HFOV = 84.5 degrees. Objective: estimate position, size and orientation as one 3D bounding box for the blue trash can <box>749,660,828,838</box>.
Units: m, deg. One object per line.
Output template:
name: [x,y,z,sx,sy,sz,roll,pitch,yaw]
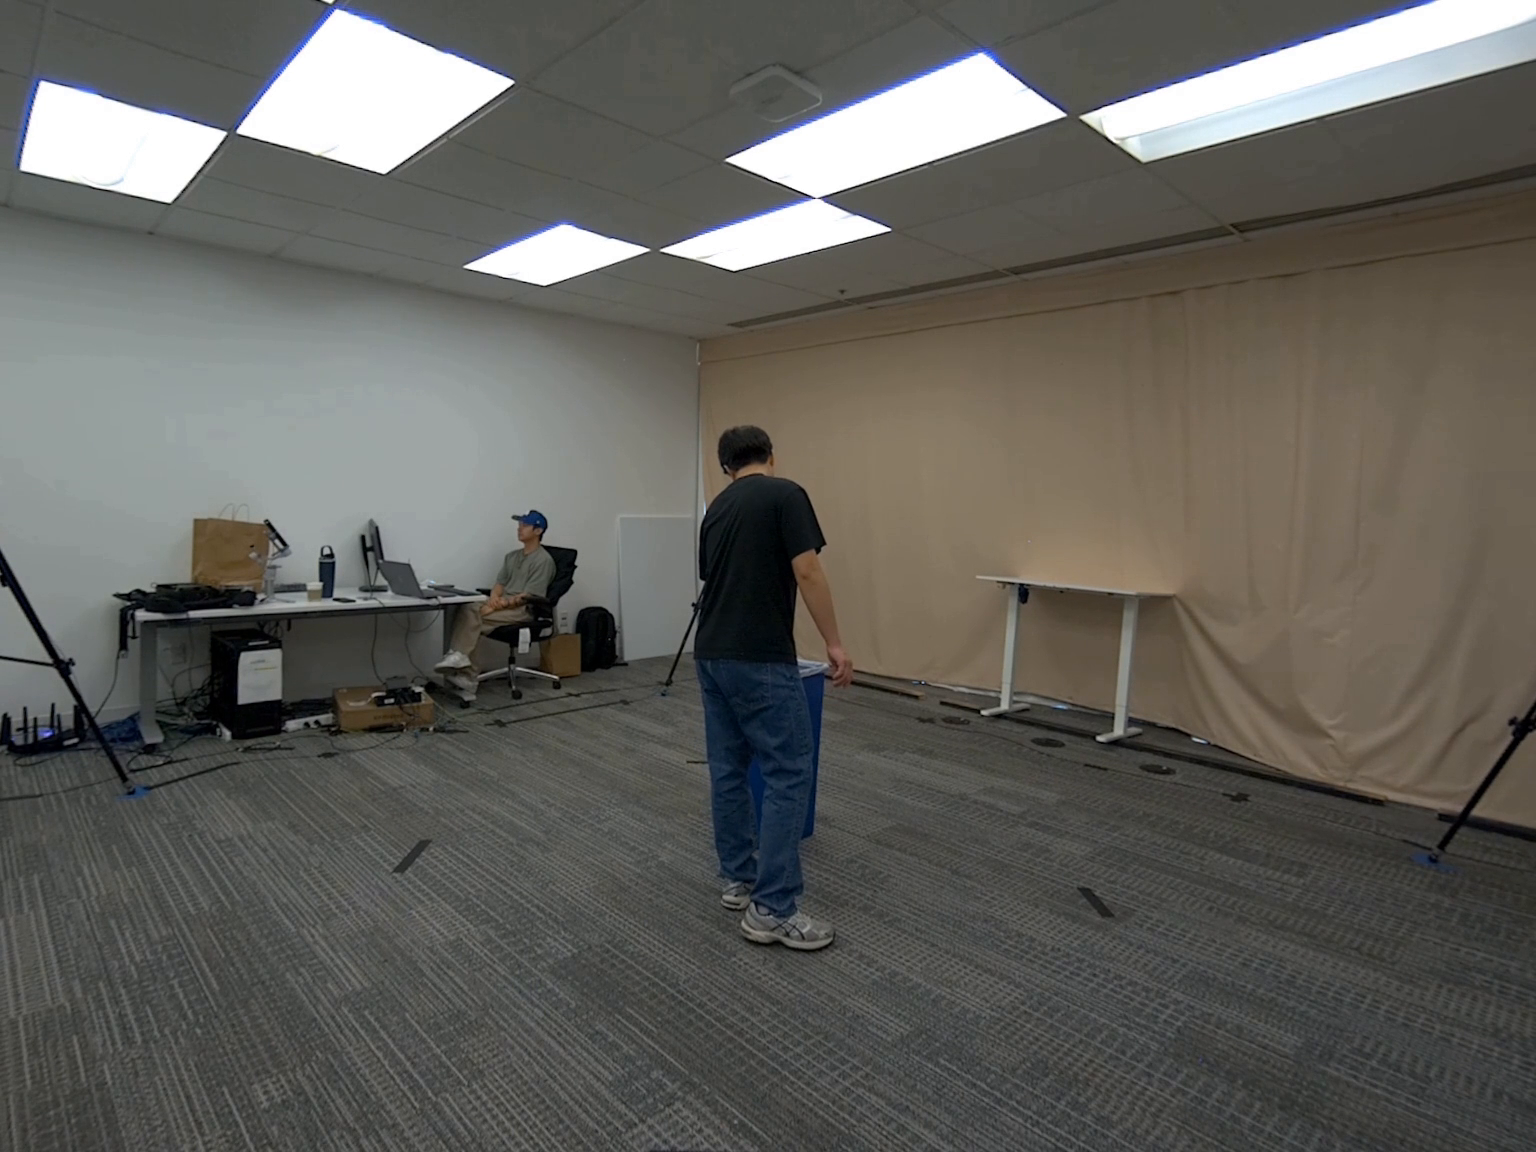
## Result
blue trash can: [-0.005,0.722,3.508,0.388,0.712,0.365,5,5,41]
